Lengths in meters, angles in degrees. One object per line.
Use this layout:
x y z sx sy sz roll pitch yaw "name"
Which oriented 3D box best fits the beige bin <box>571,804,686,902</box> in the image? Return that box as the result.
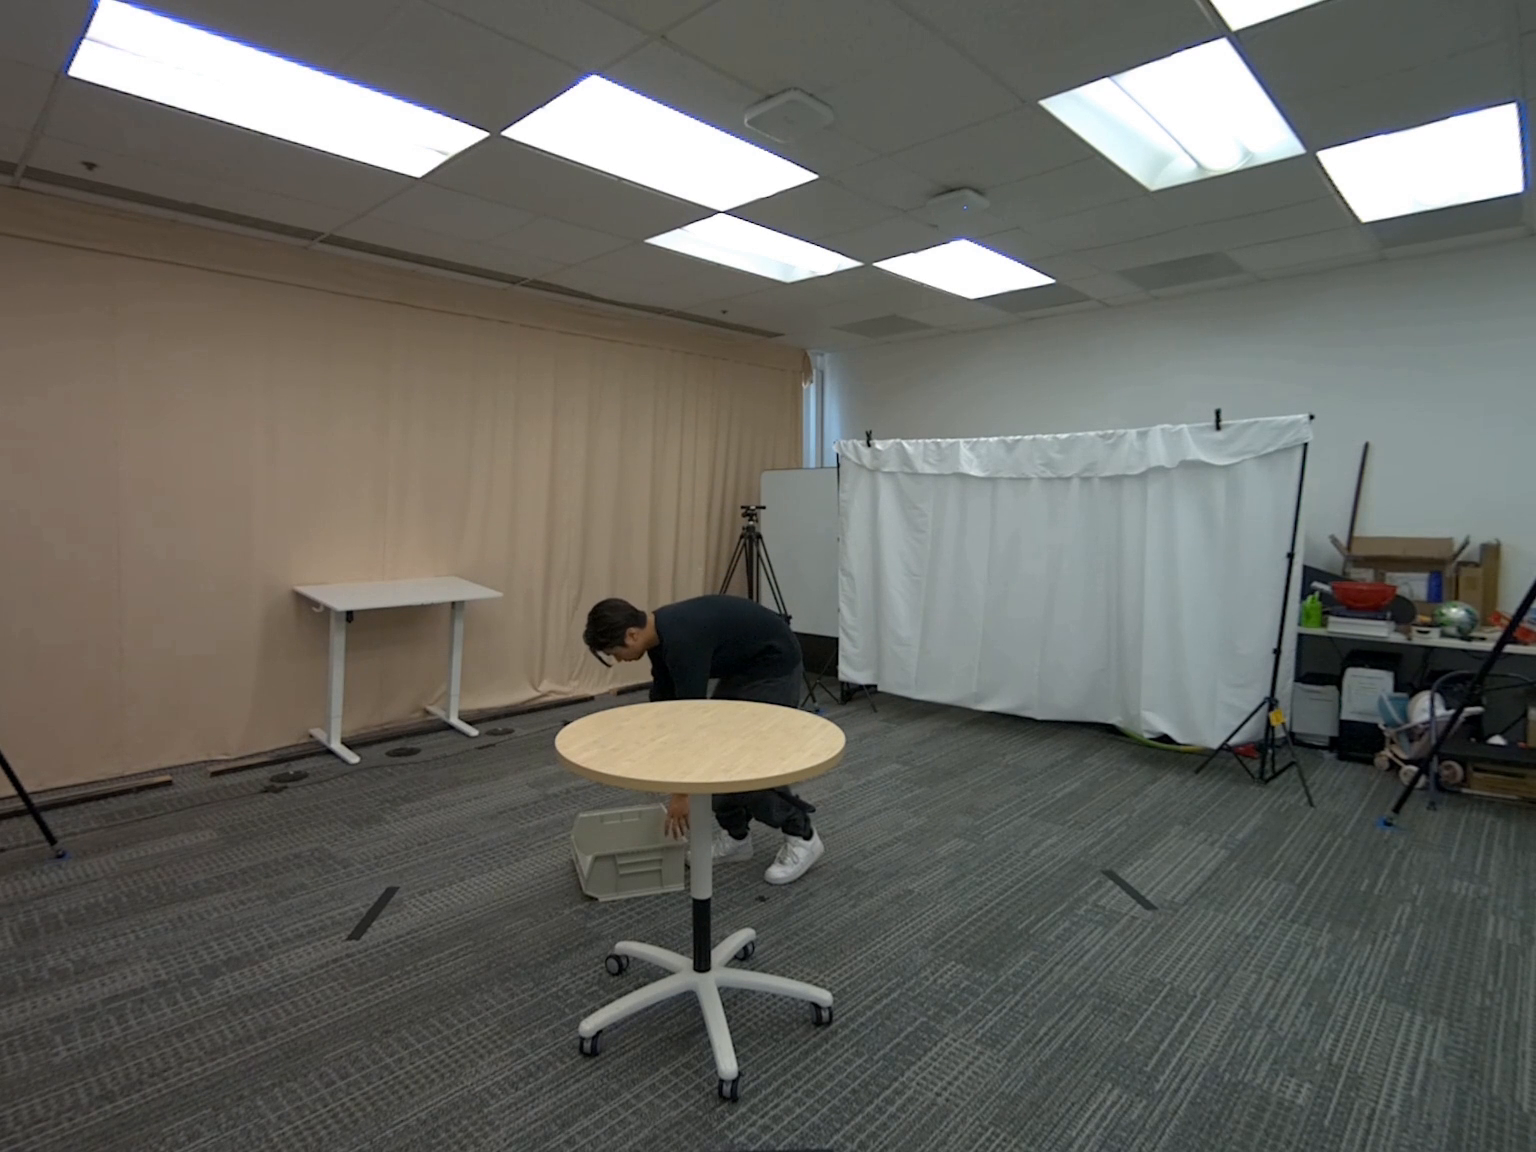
-0.540 1.041 3.199 0.370 0.188 0.431 0 4 -18 "beige bin"
